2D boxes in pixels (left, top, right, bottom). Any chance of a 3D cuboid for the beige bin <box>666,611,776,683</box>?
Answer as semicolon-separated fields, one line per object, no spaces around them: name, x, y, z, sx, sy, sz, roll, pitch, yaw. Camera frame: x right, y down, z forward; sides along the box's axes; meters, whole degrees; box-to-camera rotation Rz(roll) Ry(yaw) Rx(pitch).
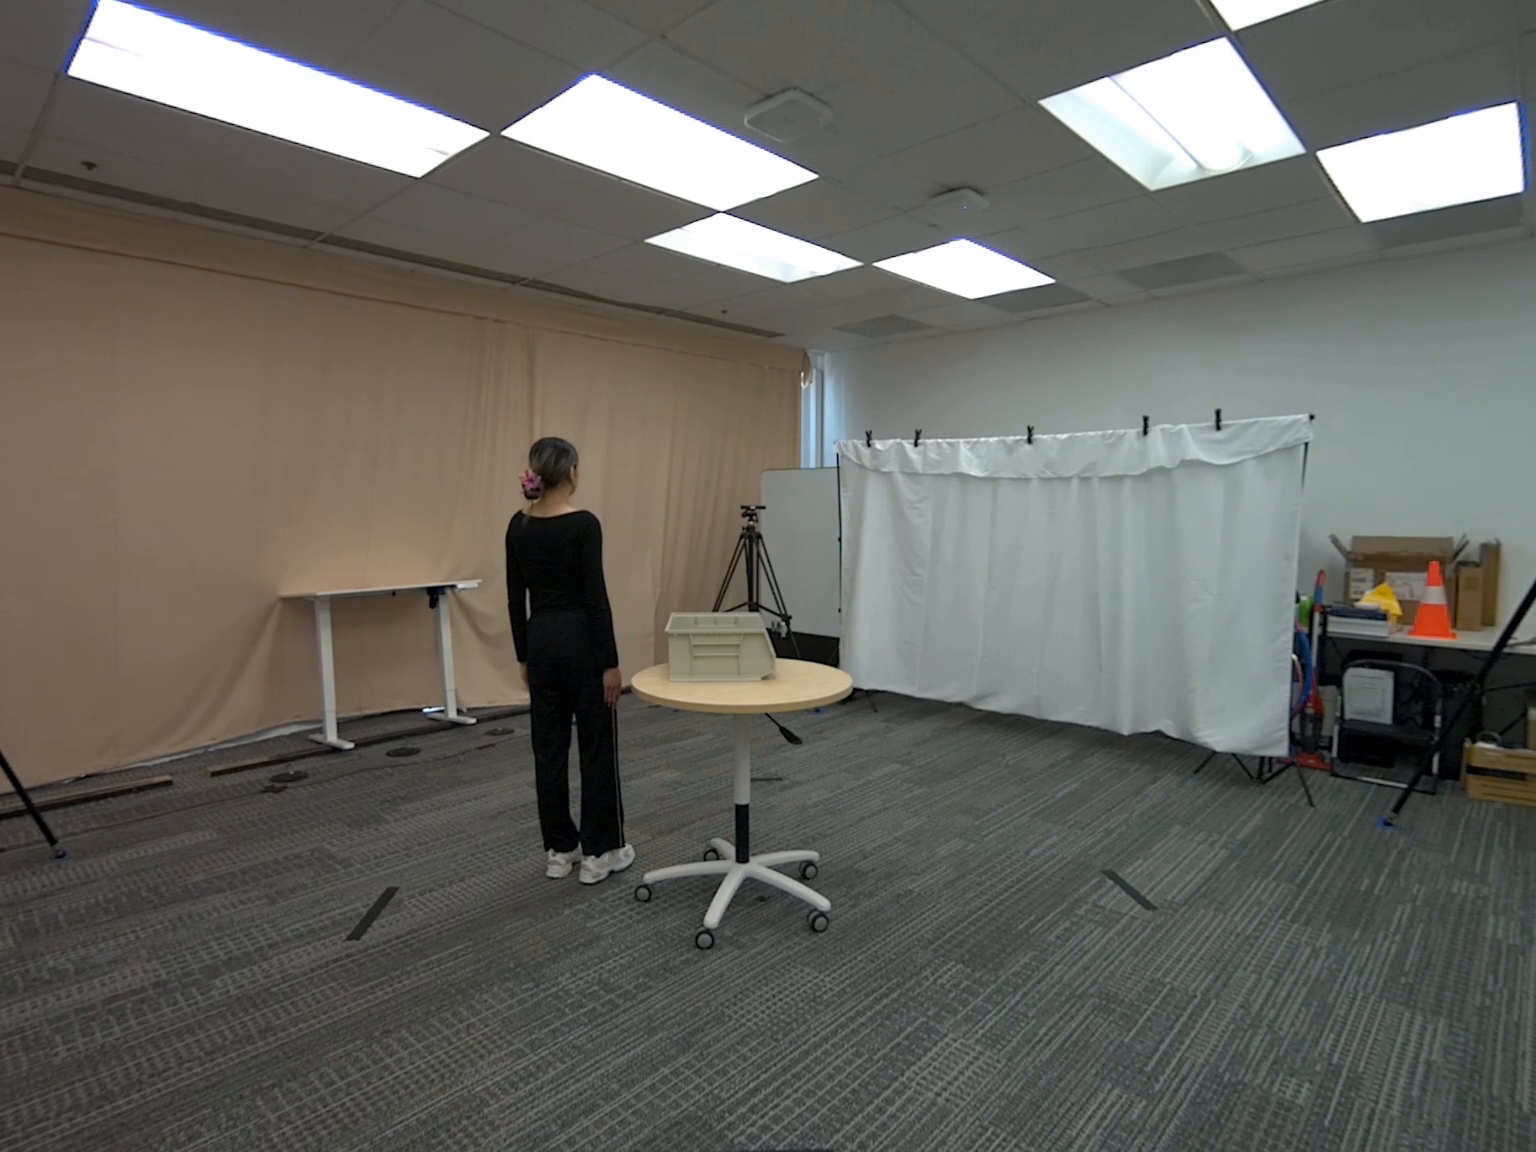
beige bin;-0.166;0.255;3.075;0.377;0.188;0.424;-2;6;-2
